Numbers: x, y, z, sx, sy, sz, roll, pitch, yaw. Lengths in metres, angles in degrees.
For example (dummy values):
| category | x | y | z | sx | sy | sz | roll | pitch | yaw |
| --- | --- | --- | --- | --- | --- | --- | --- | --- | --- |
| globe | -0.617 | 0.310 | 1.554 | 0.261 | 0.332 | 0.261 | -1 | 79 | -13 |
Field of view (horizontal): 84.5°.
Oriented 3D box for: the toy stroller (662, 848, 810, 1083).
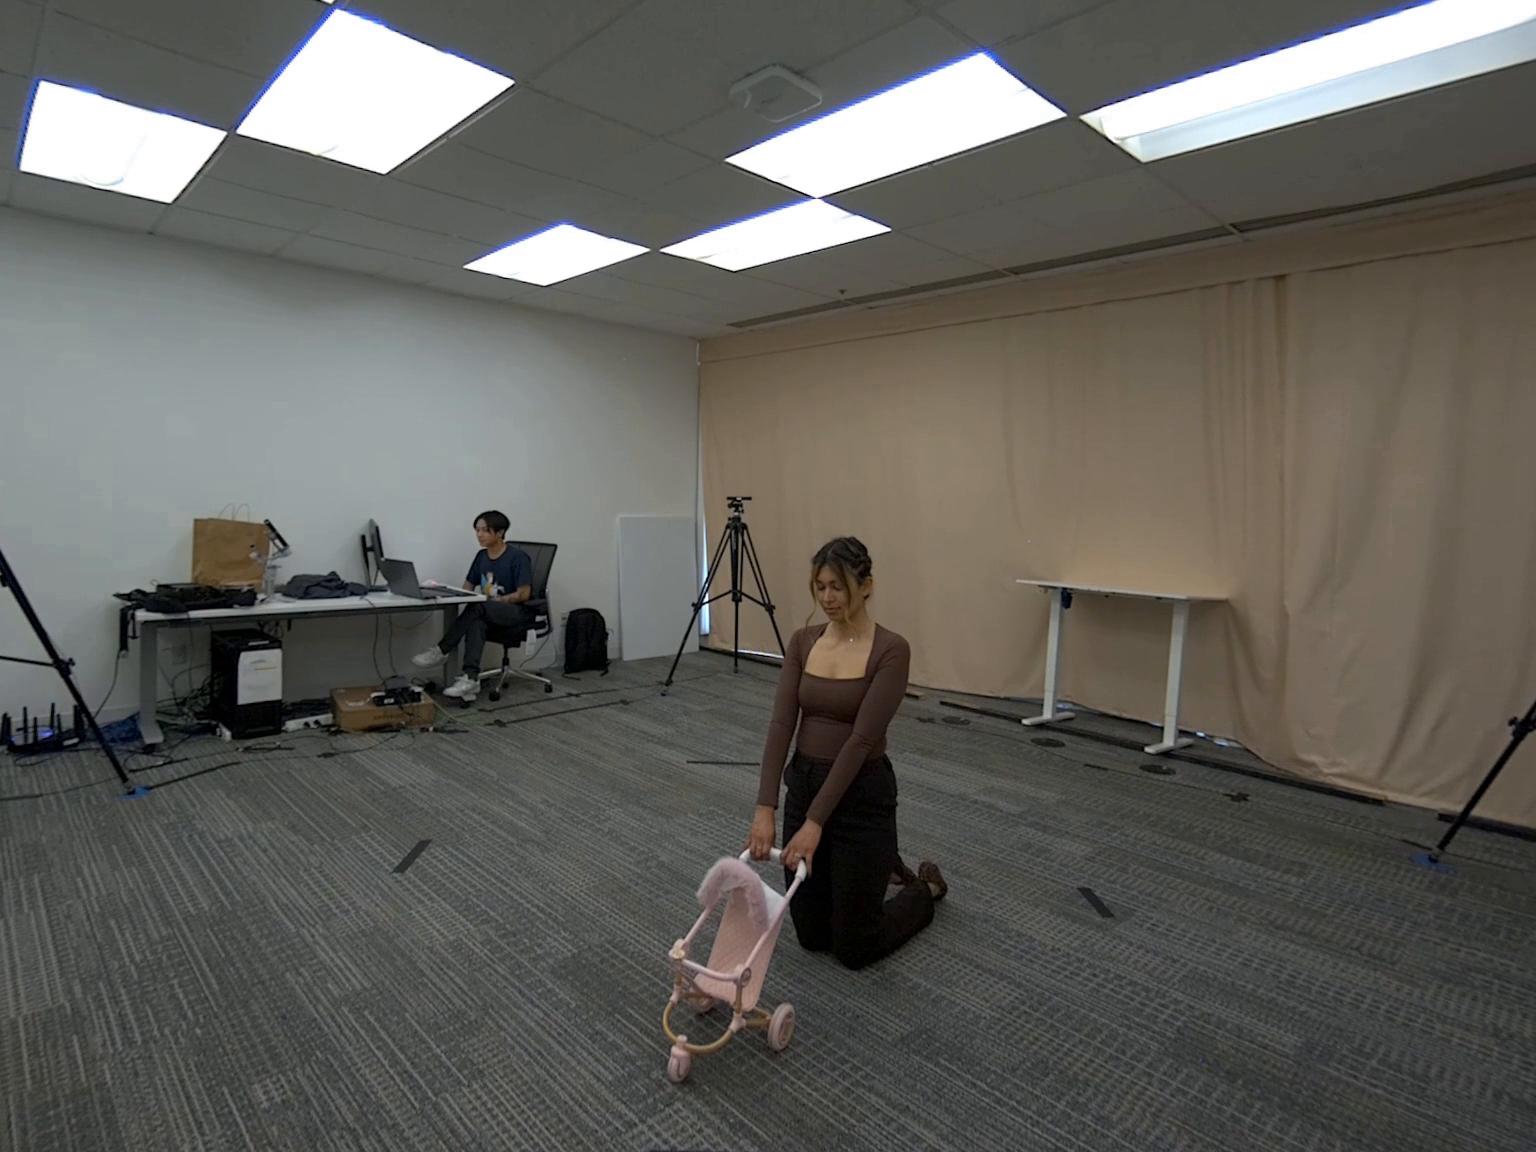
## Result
| category | x | y | z | sx | sy | sz | roll | pitch | yaw |
| --- | --- | --- | --- | --- | --- | --- | --- | --- | --- |
| toy stroller | -0.105 | 0.972 | 2.150 | 0.288 | 0.538 | 0.331 | 3 | -14 | 40 |
